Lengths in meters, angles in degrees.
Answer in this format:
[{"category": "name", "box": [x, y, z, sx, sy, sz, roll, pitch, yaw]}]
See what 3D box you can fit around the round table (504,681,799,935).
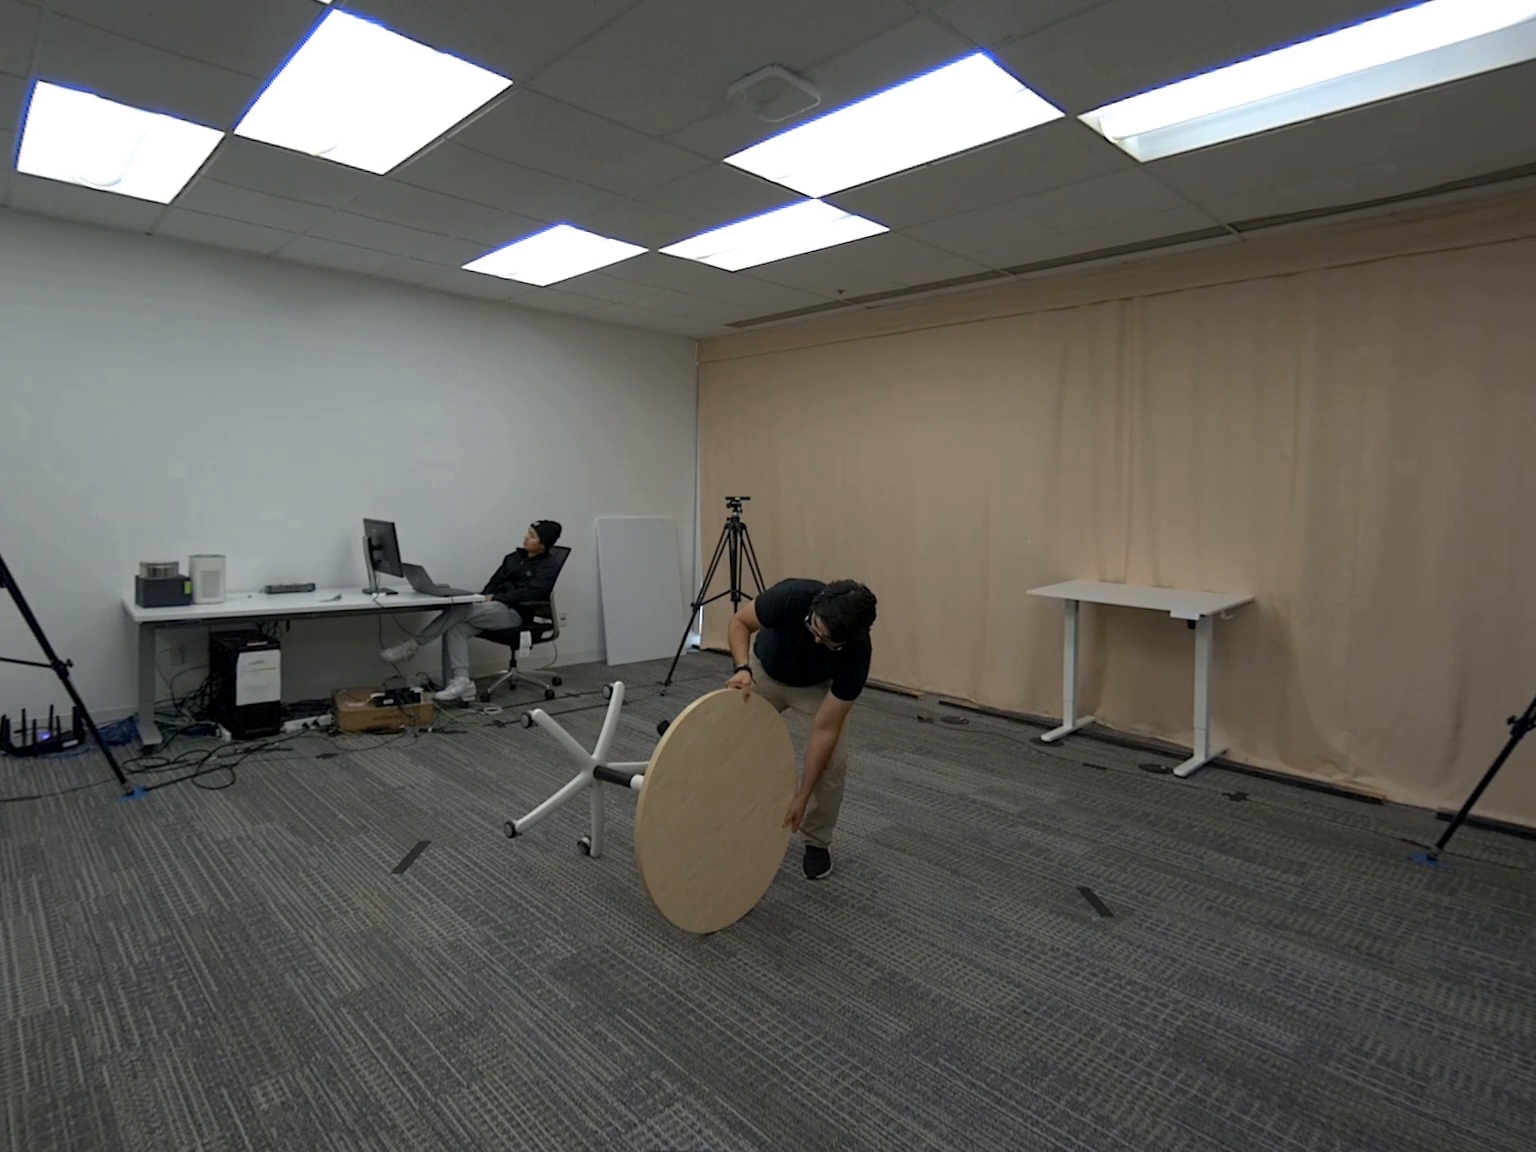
[{"category": "round table", "box": [-0.447, 0.738, 2.994, 0.805, 0.784, 0.768, 1, 3, 40]}]
